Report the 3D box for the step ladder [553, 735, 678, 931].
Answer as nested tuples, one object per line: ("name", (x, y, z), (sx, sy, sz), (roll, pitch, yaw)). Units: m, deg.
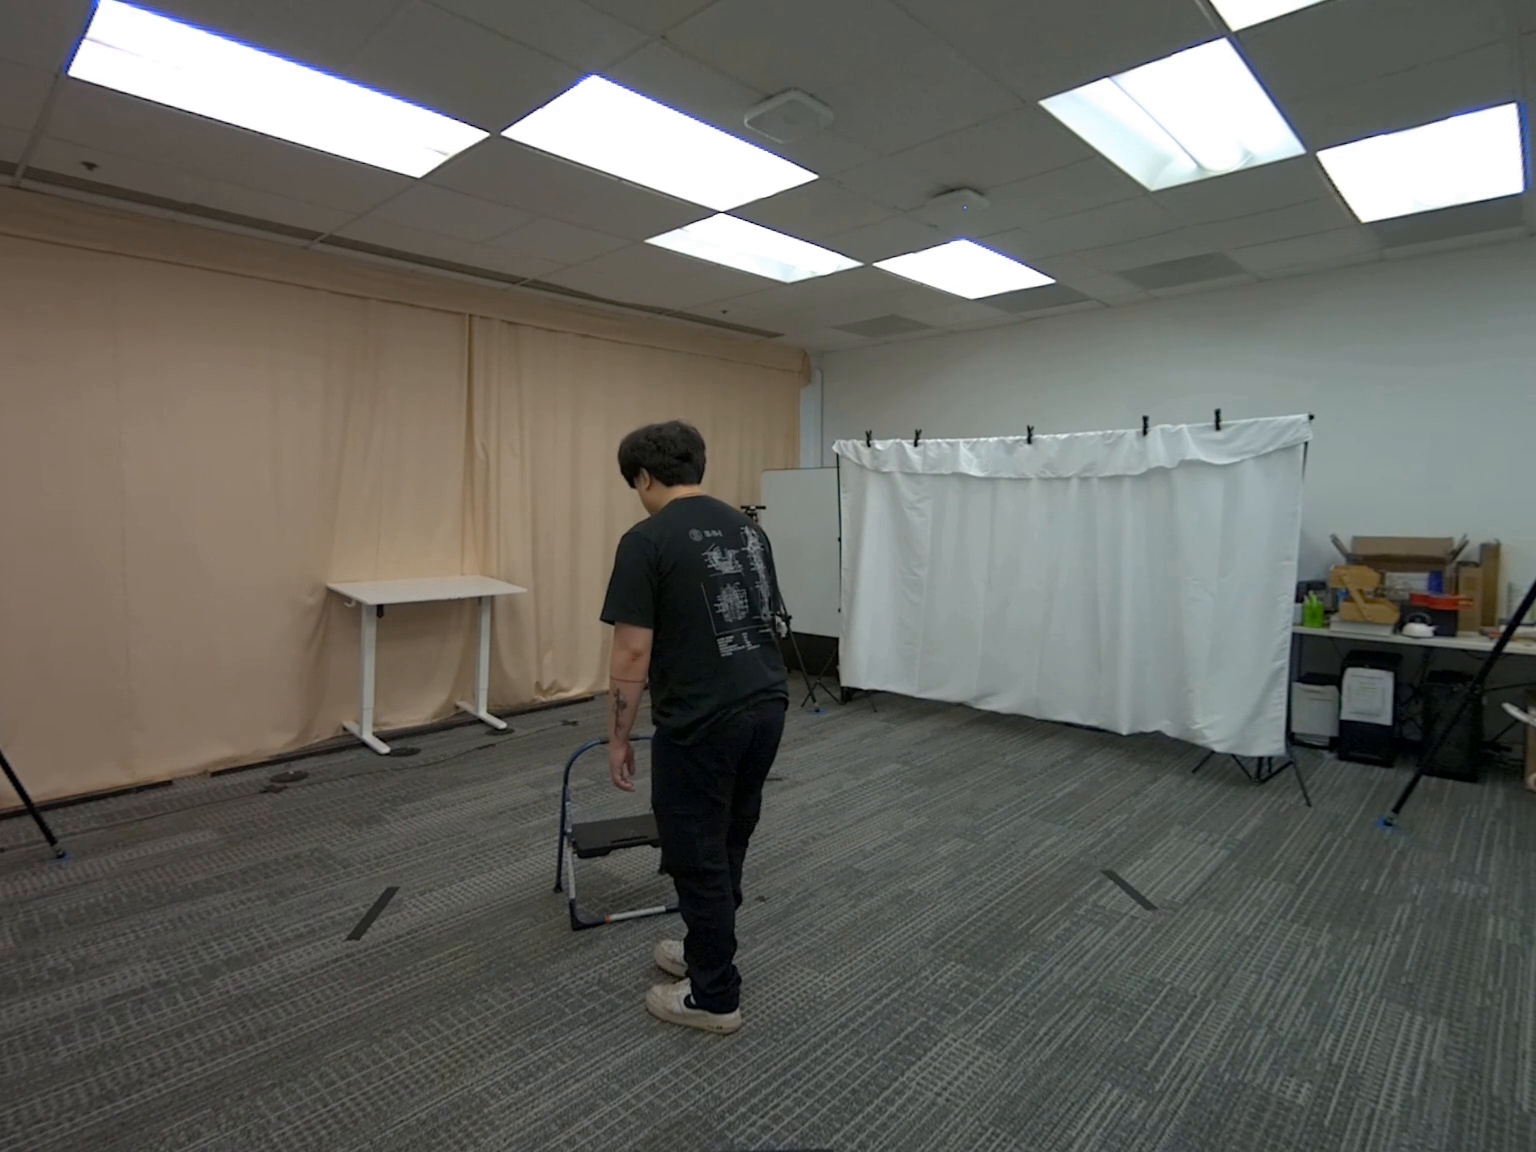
("step ladder", (-0.522, 0.844, 2.972), (0.421, 0.605, 0.358), (-2, 4, -22))
